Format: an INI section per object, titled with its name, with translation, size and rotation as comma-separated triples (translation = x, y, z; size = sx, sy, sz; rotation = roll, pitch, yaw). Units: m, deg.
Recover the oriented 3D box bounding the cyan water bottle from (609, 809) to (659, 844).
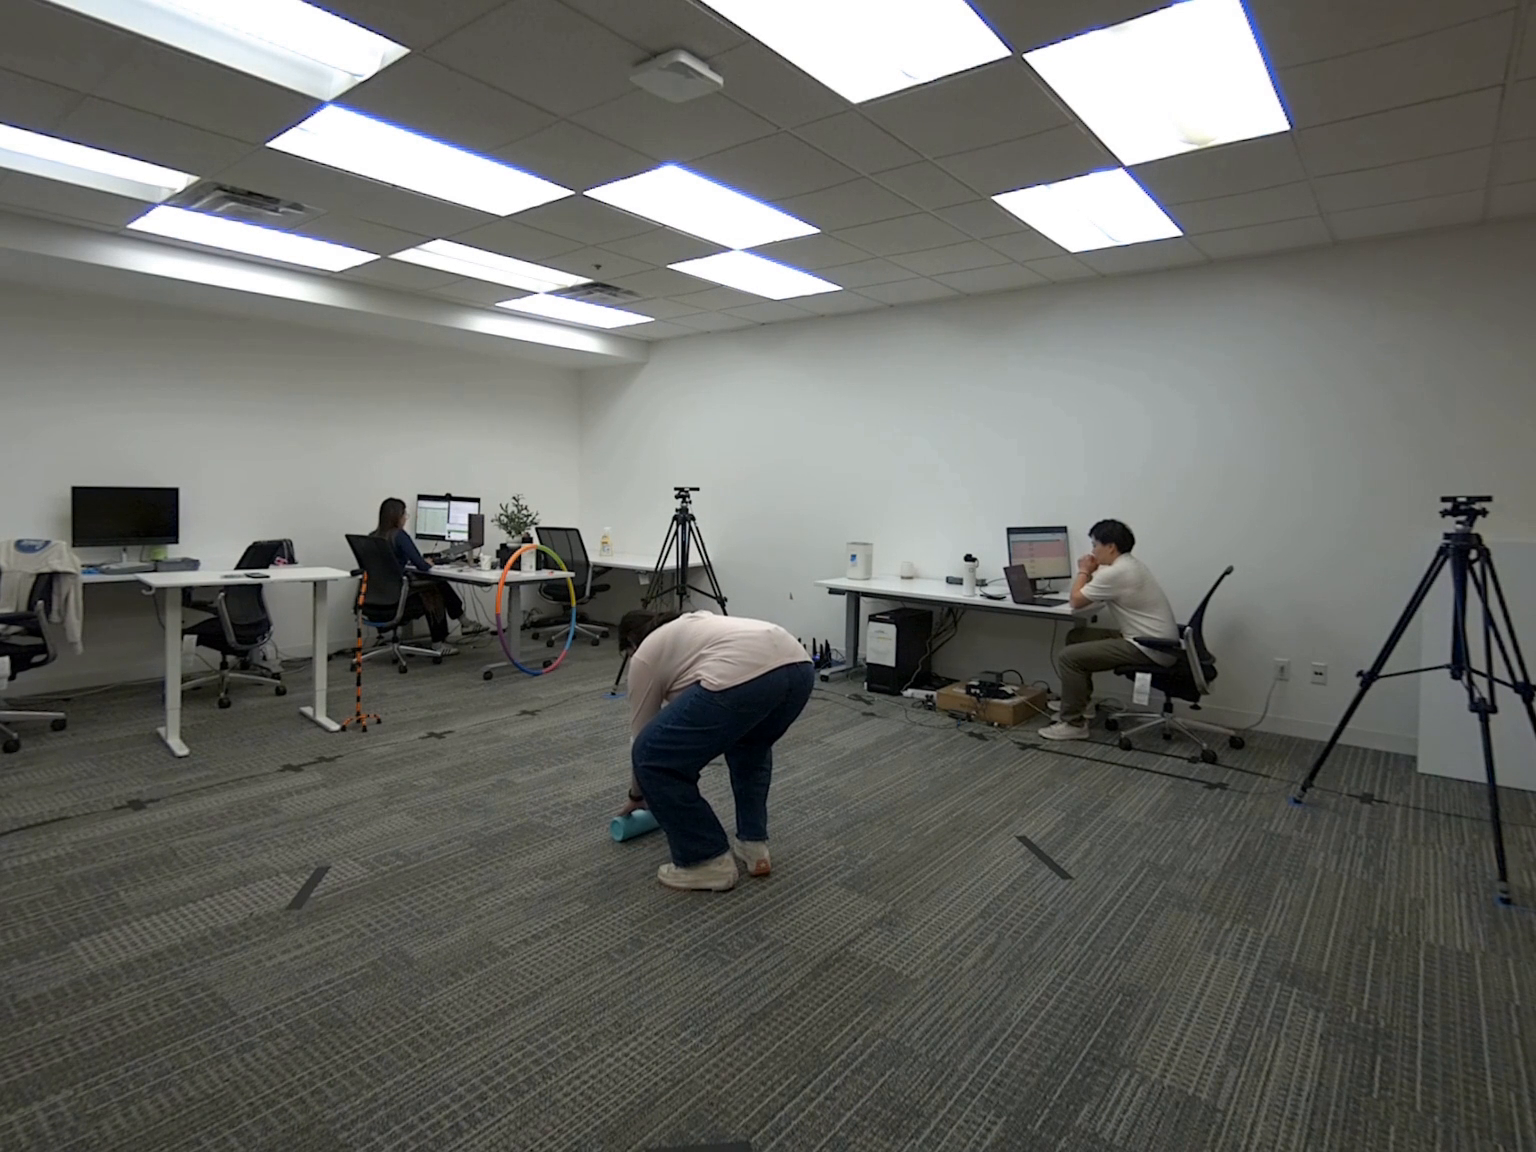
[cyan water bottle]
translation = -0.511, 0.983, 3.432
size = 0.095, 0.092, 0.275
rotation = 4, 7, 42
